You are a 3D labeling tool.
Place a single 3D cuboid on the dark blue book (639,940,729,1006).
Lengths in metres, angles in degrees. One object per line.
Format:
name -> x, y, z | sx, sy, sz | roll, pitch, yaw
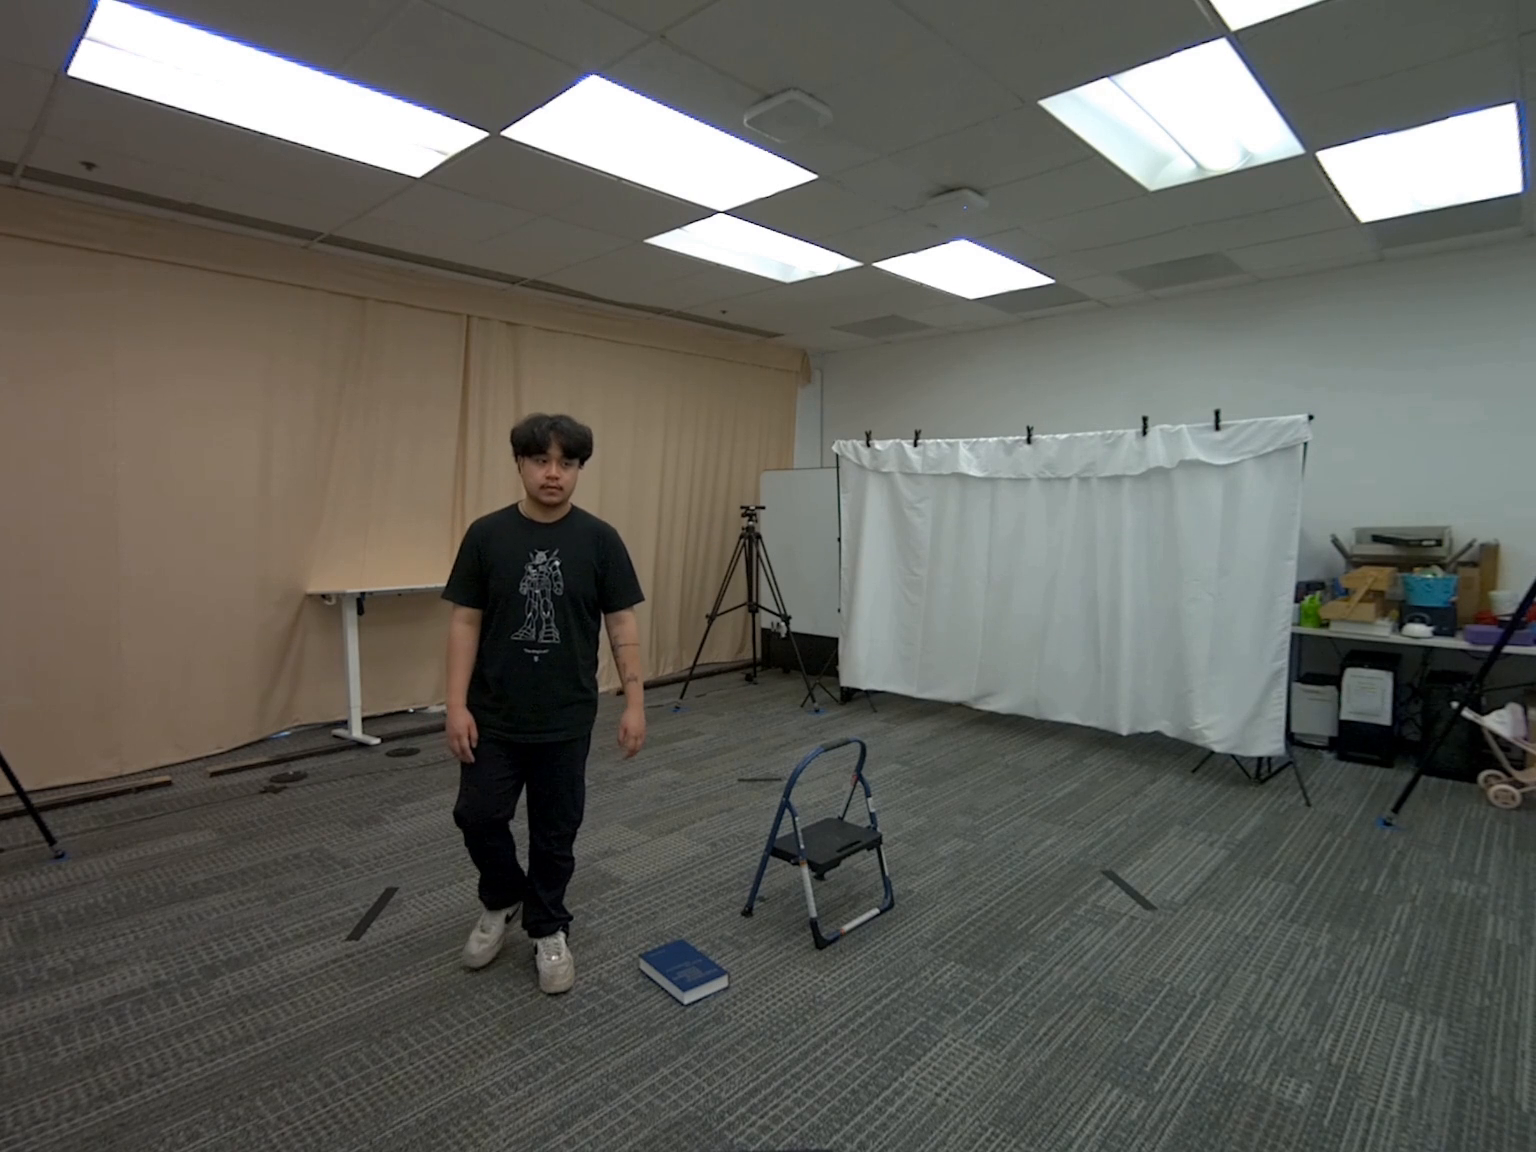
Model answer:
dark blue book -> -0.251, 1.171, 2.469 | 0.158, 0.045, 0.253 | -4, 6, -39
